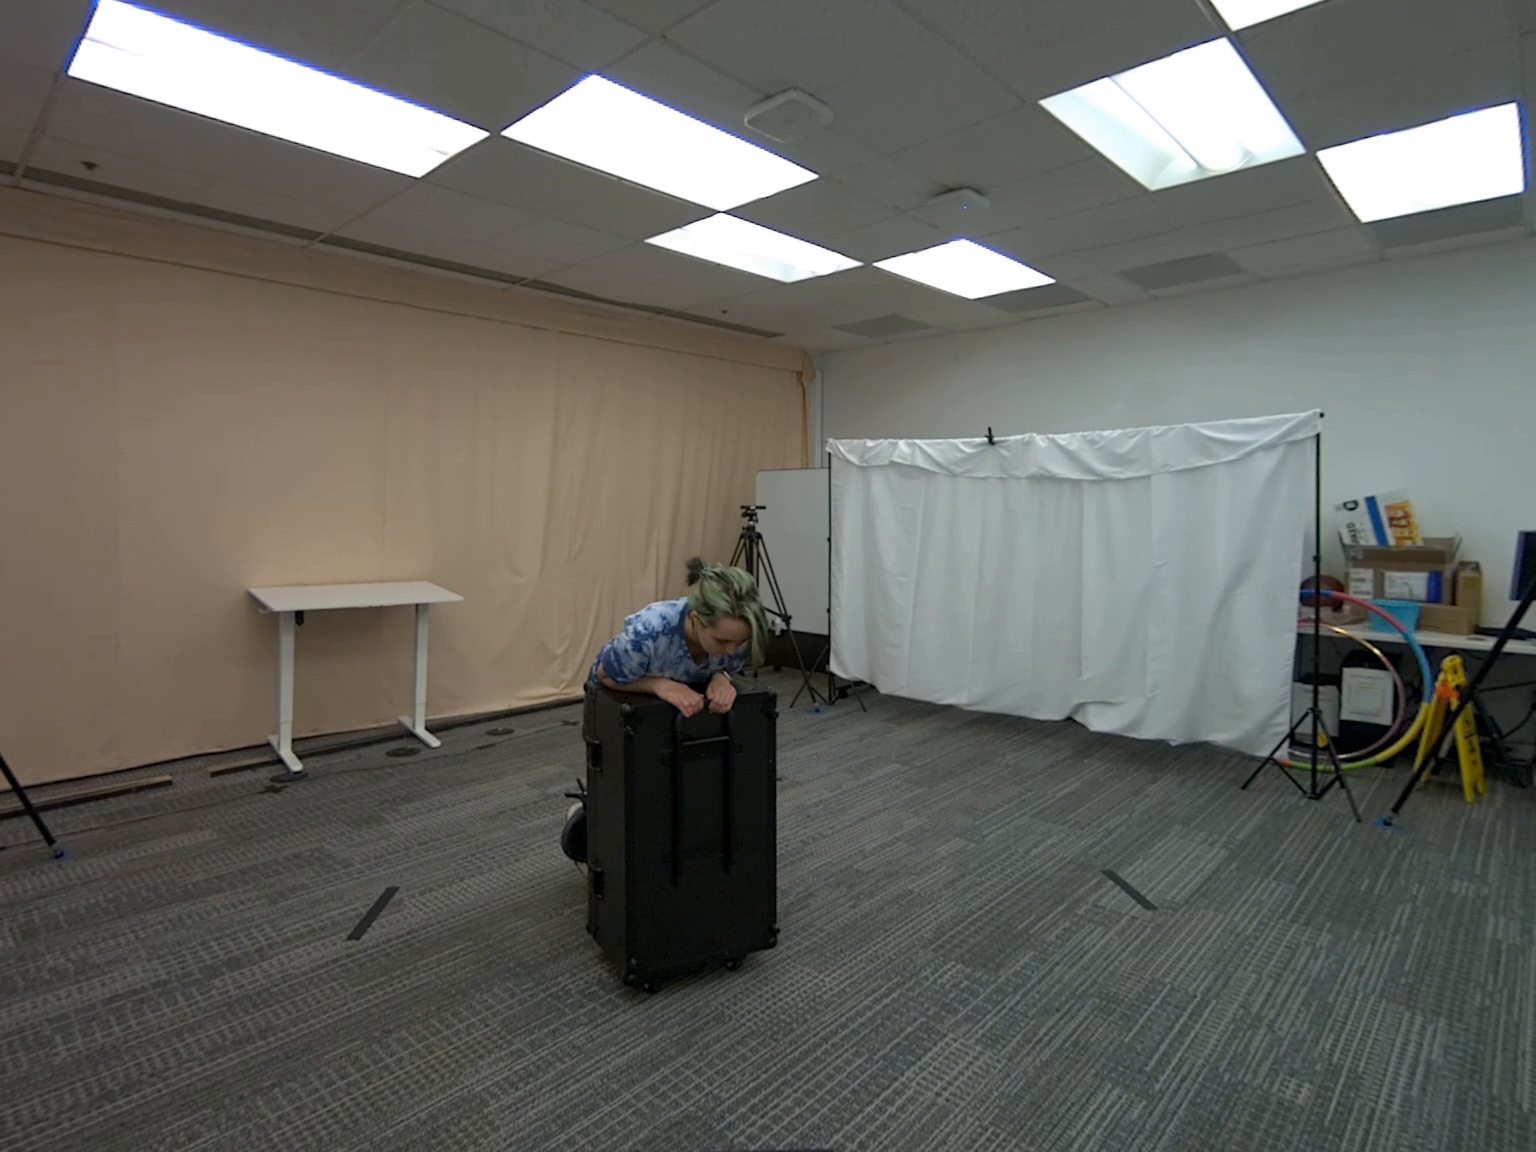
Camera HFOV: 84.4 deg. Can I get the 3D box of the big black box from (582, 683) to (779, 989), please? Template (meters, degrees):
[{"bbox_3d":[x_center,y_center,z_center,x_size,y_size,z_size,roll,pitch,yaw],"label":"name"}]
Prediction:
[{"bbox_3d":[-0.260,0.707,2.542,0.508,0.859,0.407,-2,4,-28],"label":"big black box"}]
